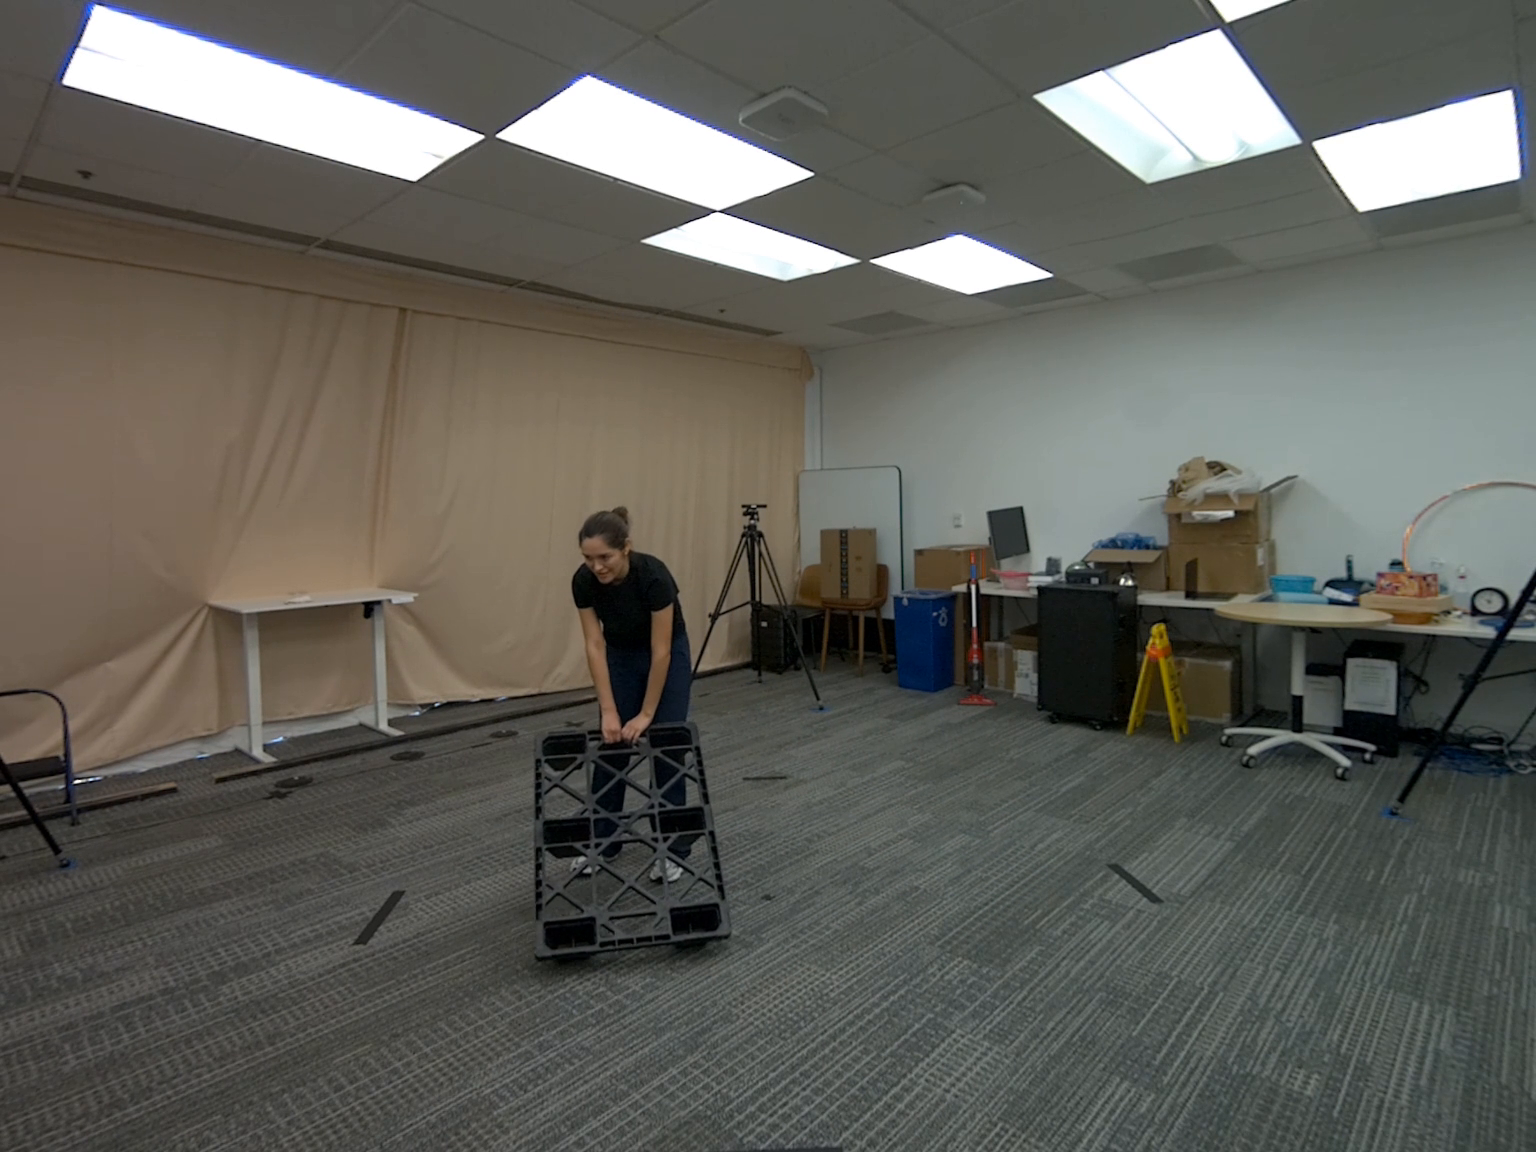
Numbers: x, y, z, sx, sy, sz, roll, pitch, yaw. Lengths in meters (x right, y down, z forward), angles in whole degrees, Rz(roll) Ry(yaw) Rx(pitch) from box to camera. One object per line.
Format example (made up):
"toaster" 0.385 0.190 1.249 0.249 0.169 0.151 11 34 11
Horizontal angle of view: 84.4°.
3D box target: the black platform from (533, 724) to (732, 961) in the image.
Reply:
"black platform" -0.468 0.872 2.862 0.598 0.141 0.827 -3 44 -12
